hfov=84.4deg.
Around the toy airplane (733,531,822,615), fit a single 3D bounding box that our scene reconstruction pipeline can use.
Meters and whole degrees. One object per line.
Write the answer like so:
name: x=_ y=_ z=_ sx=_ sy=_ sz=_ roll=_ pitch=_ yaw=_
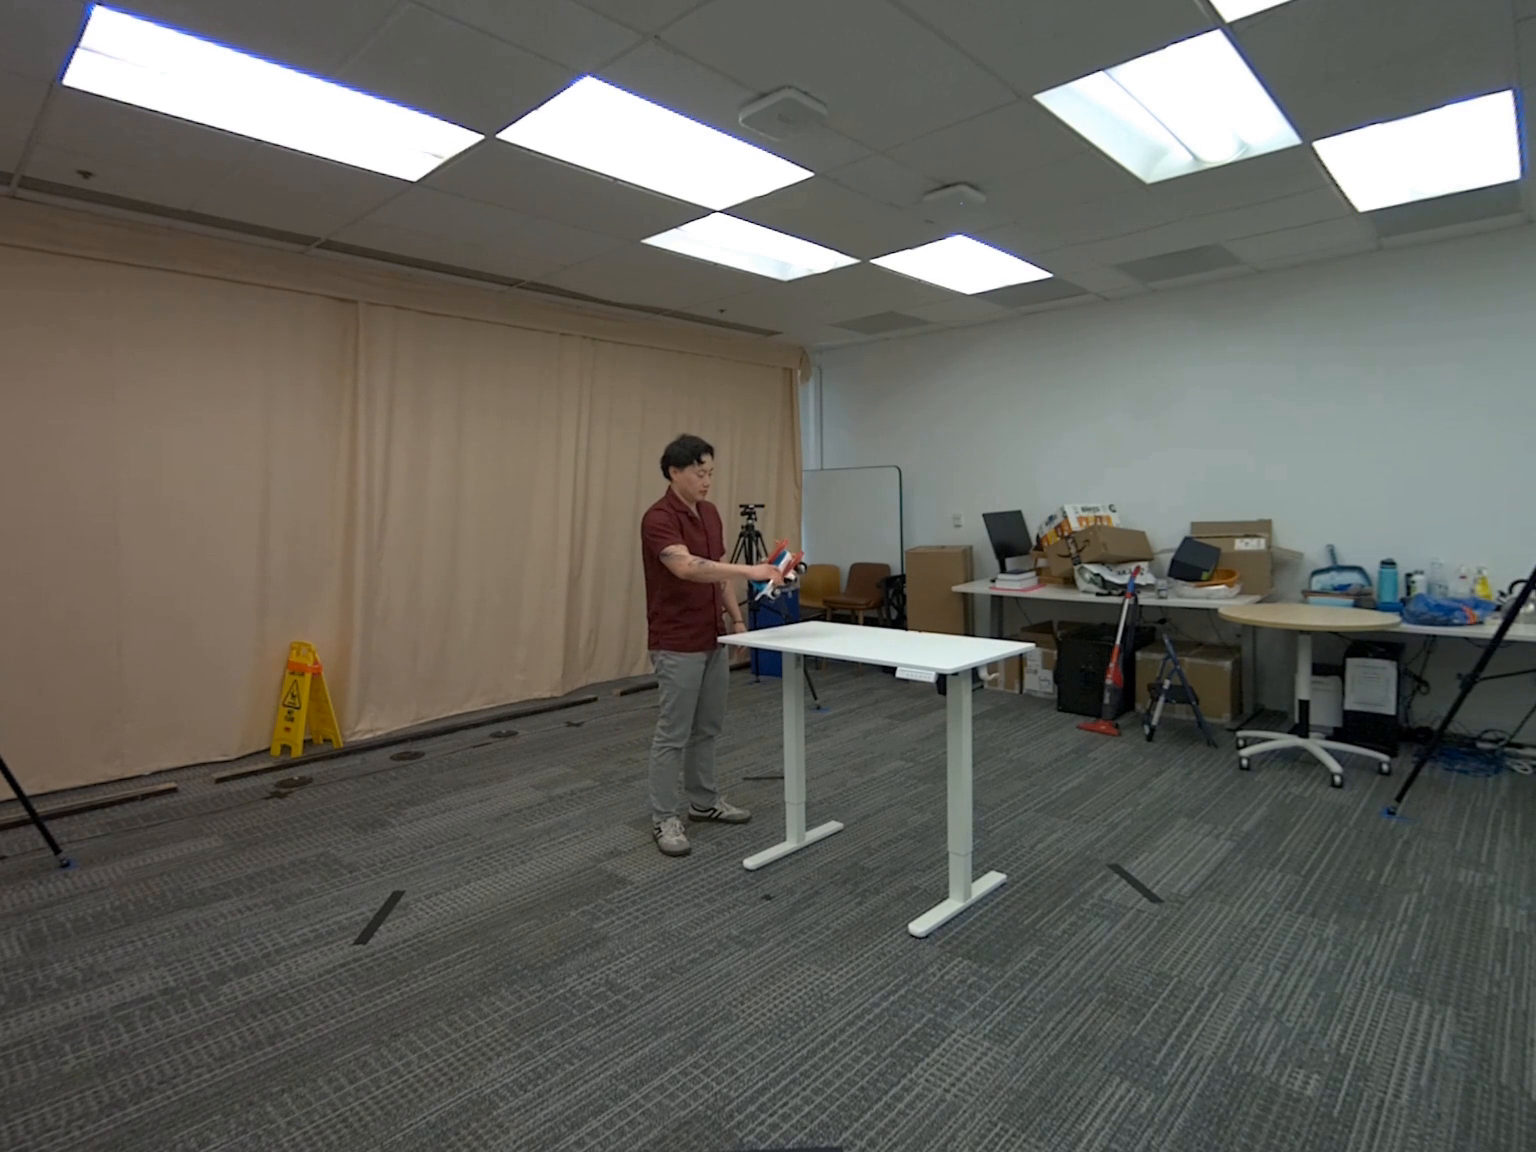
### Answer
toy airplane: x=0.038 y=-0.018 z=3.275 sx=0.252 sy=0.158 sz=0.256 roll=-47 pitch=-6 yaw=17
